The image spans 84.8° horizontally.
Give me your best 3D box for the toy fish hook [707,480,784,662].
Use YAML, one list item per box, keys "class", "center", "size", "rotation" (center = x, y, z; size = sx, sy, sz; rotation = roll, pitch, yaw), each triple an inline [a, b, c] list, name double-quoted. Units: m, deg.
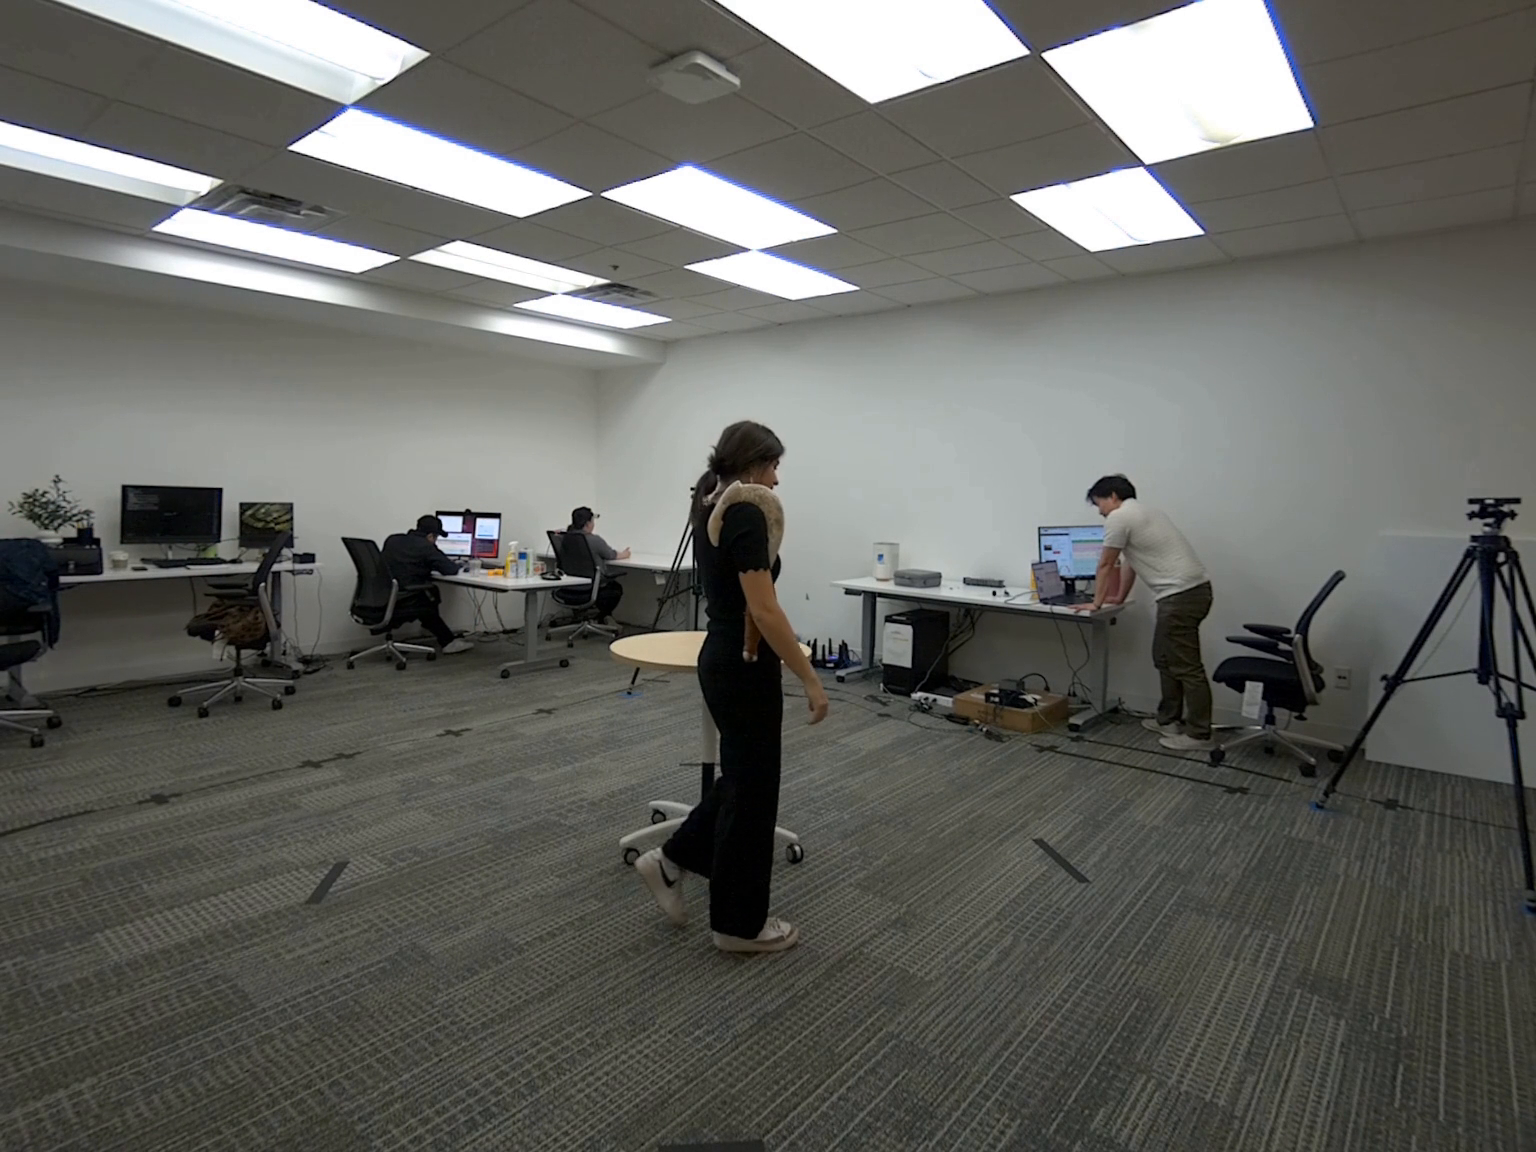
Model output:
- class: "toy fish hook"
  center: [-0.082, -0.019, 2.415]
  size: [0.222, 0.510, 0.048]
  rotation: [5, -8, -10]
